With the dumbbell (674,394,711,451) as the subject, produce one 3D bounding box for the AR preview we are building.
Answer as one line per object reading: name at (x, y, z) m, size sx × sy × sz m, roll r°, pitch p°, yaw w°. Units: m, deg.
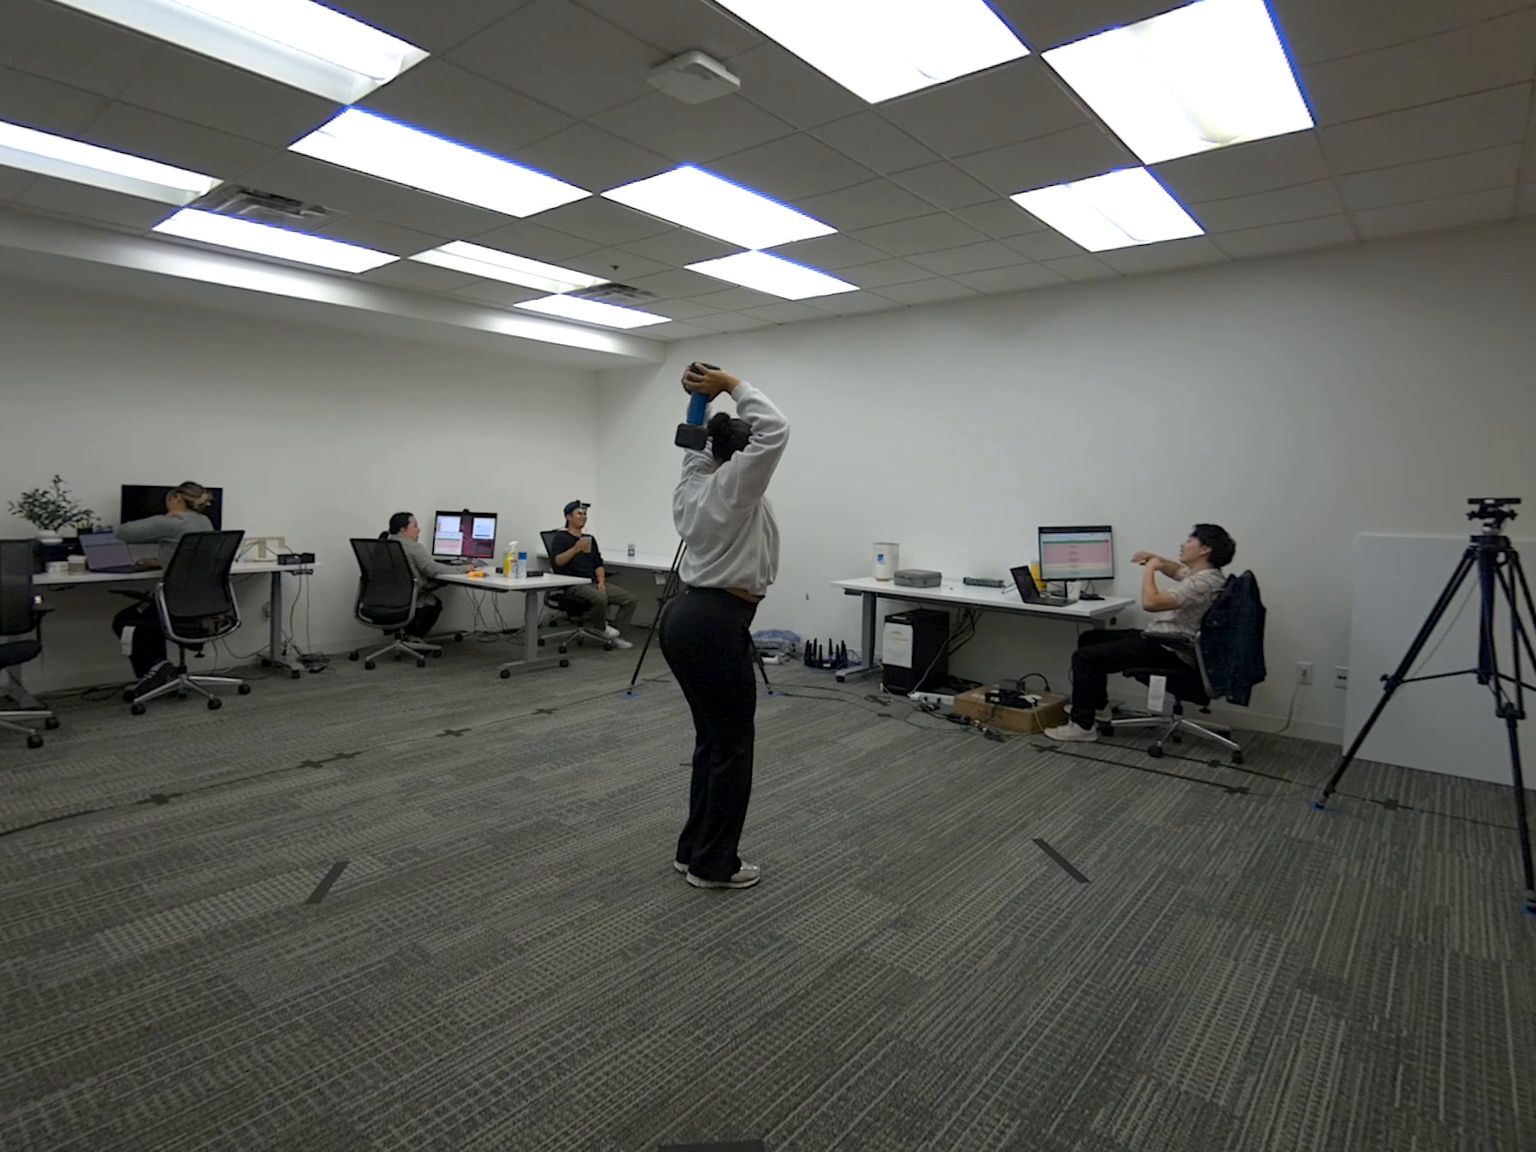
dumbbell at (-0.254, -0.592, 2.935) m, size 0.126 × 0.293 × 0.106 m, roll 13°, pitch 2°, yaw 20°
